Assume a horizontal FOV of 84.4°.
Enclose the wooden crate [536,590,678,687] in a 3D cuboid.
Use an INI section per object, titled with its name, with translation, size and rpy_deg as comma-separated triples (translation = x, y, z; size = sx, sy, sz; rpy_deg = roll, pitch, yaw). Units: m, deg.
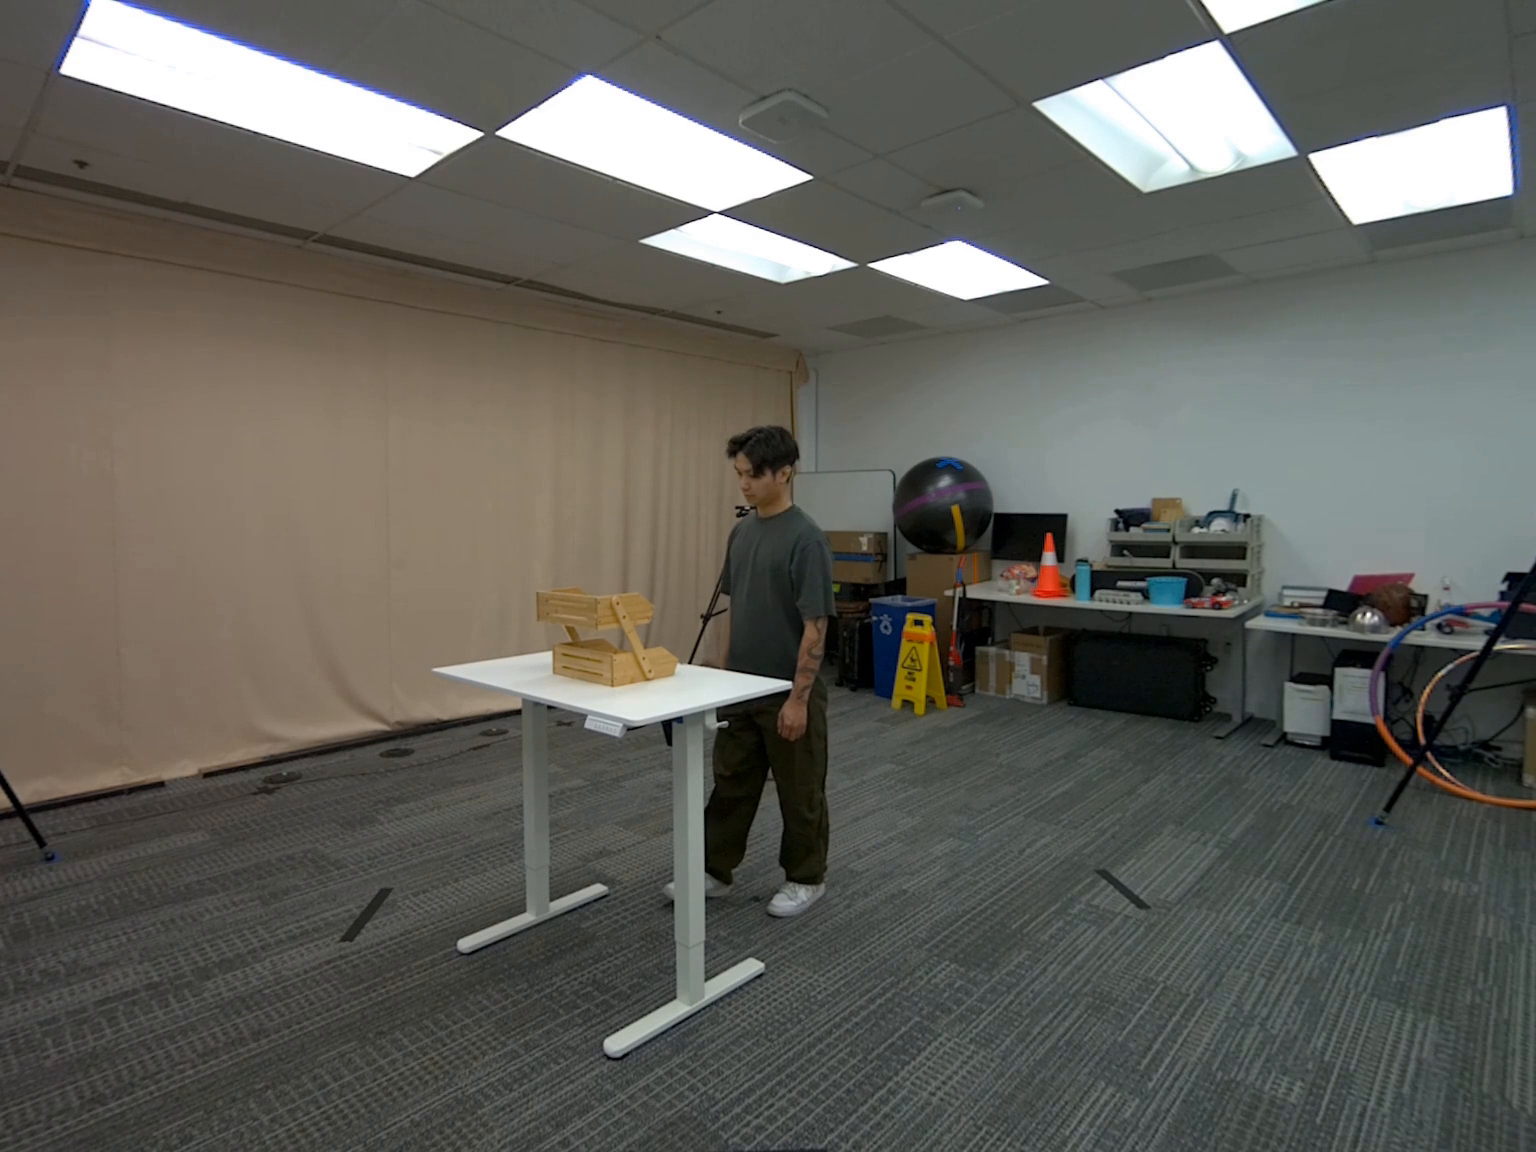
[wooden crate]
translation = -0.487, 0.169, 2.542
size = 0.335, 0.273, 0.293
rpy_deg = 2, 5, 42
